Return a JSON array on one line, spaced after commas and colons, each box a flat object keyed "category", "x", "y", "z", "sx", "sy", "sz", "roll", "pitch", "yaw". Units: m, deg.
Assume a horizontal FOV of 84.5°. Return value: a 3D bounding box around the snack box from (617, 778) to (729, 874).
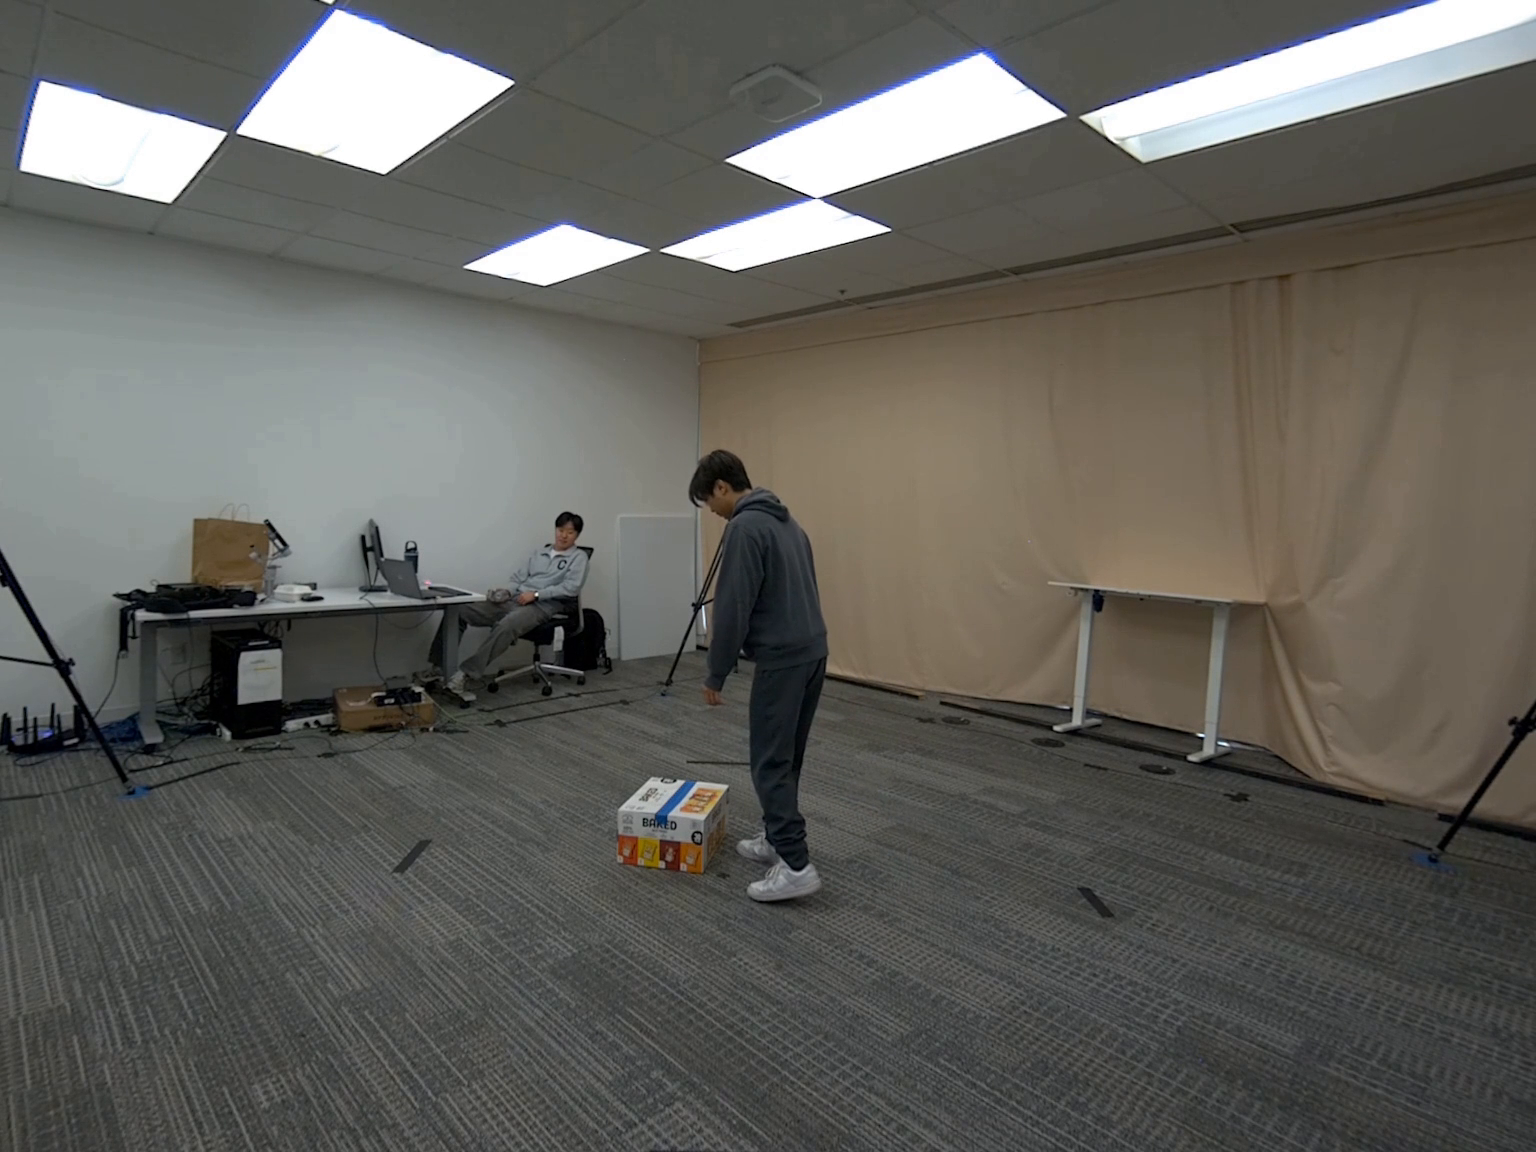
[{"category": "snack box", "x": -0.375, "y": 0.978, "z": 3.338, "sx": 0.344, "sy": 0.205, "sz": 0.402, "roll": 3, "pitch": 5, "yaw": 12}]
